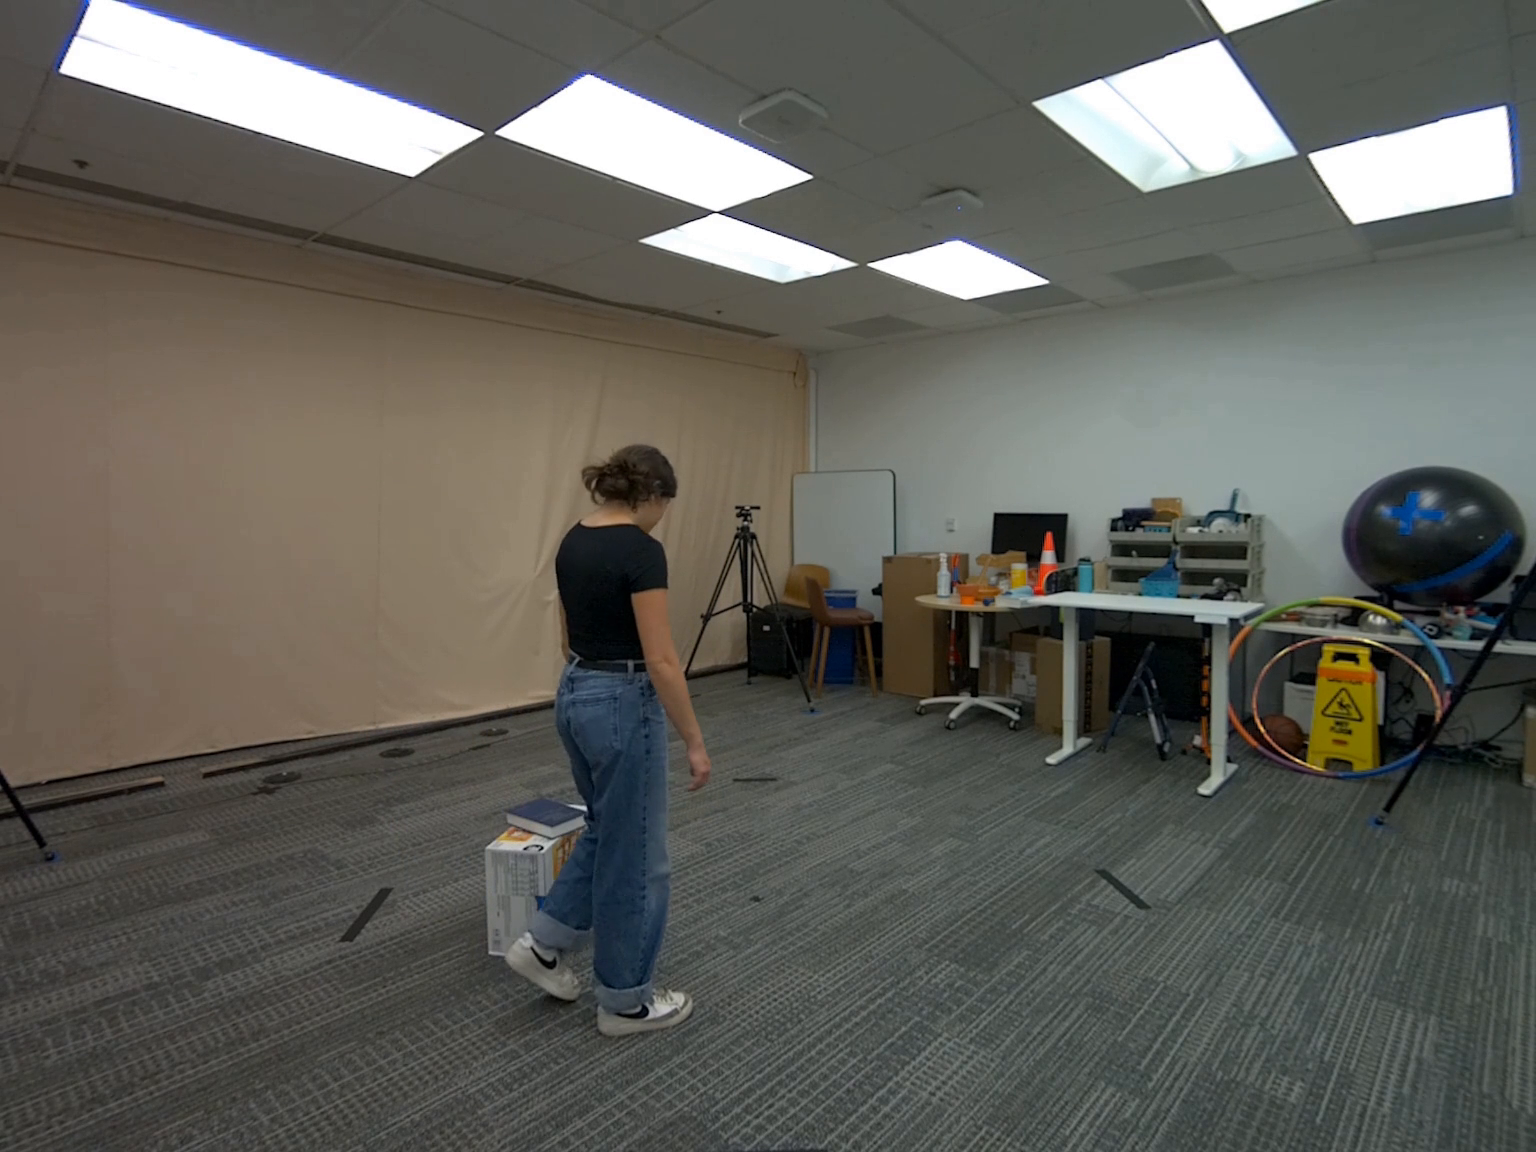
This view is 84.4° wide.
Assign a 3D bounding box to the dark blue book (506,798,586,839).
[{"bbox_3d":[-0.734,0.803,2.802,0.253,0.045,0.159,2,6,38],"label":"dark blue book"}]
